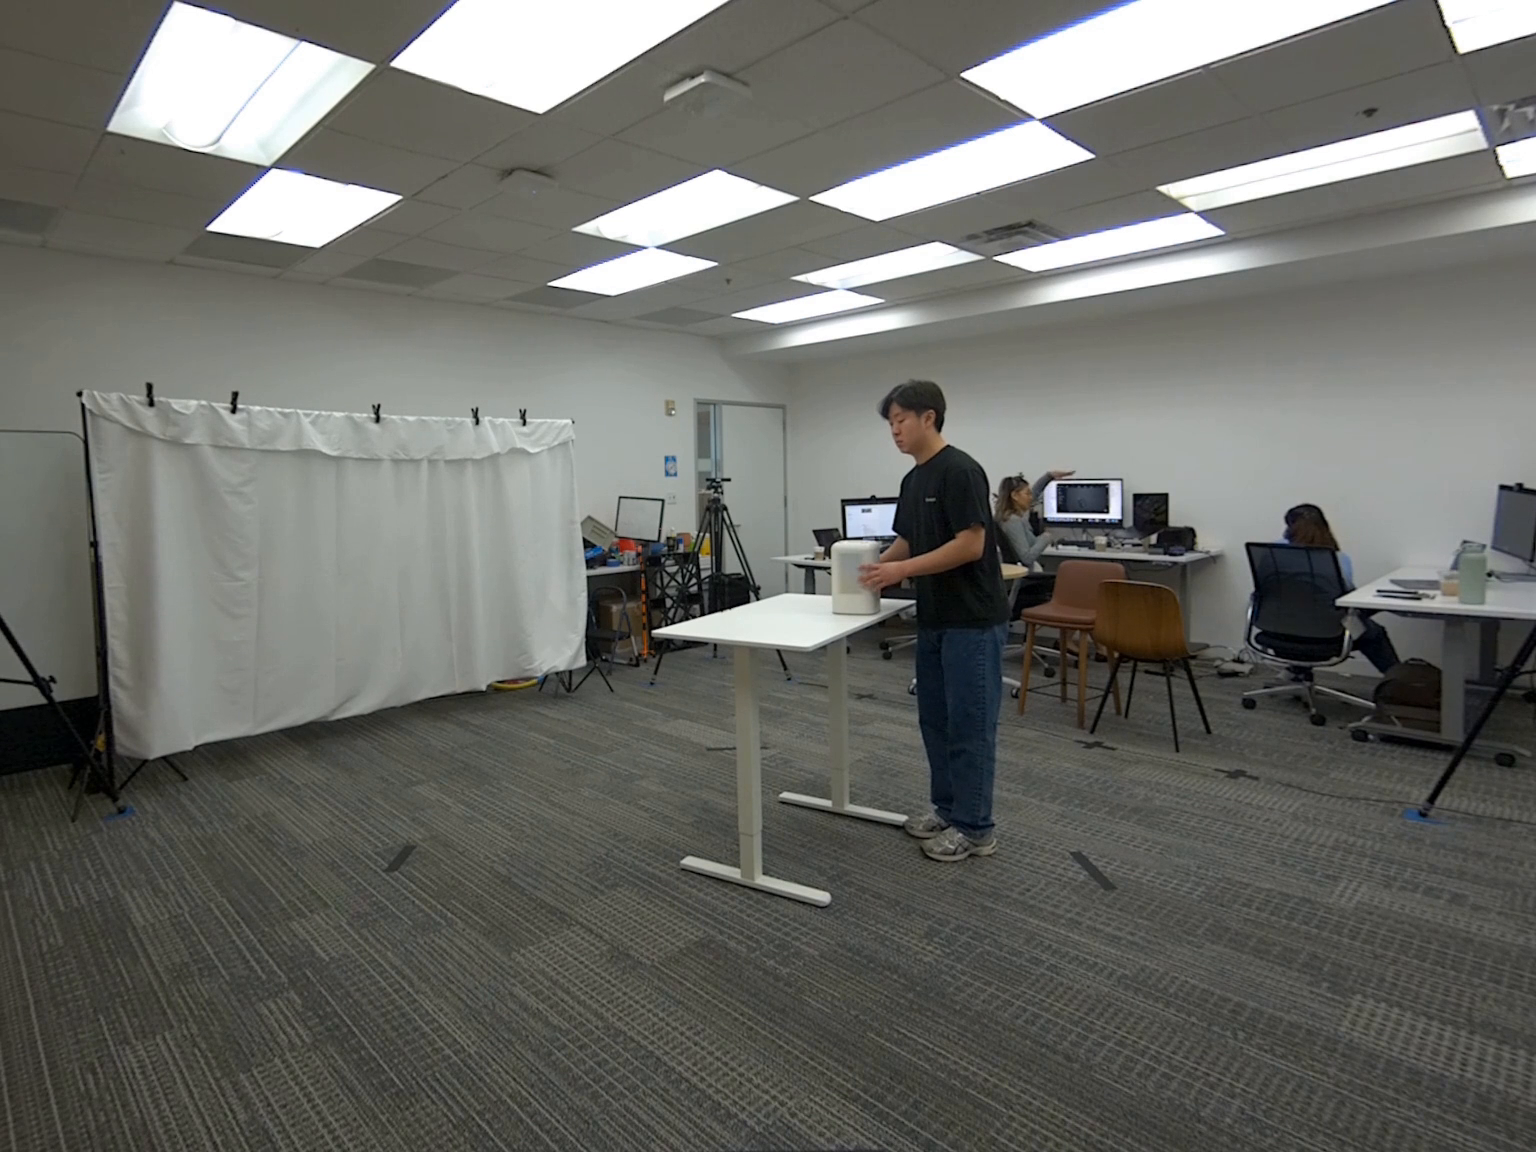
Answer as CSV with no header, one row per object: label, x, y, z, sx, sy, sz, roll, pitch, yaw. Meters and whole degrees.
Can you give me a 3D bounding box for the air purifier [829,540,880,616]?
air purifier,0.340,0.000,3.232,0.174,0.264,0.169,-1,5,18
